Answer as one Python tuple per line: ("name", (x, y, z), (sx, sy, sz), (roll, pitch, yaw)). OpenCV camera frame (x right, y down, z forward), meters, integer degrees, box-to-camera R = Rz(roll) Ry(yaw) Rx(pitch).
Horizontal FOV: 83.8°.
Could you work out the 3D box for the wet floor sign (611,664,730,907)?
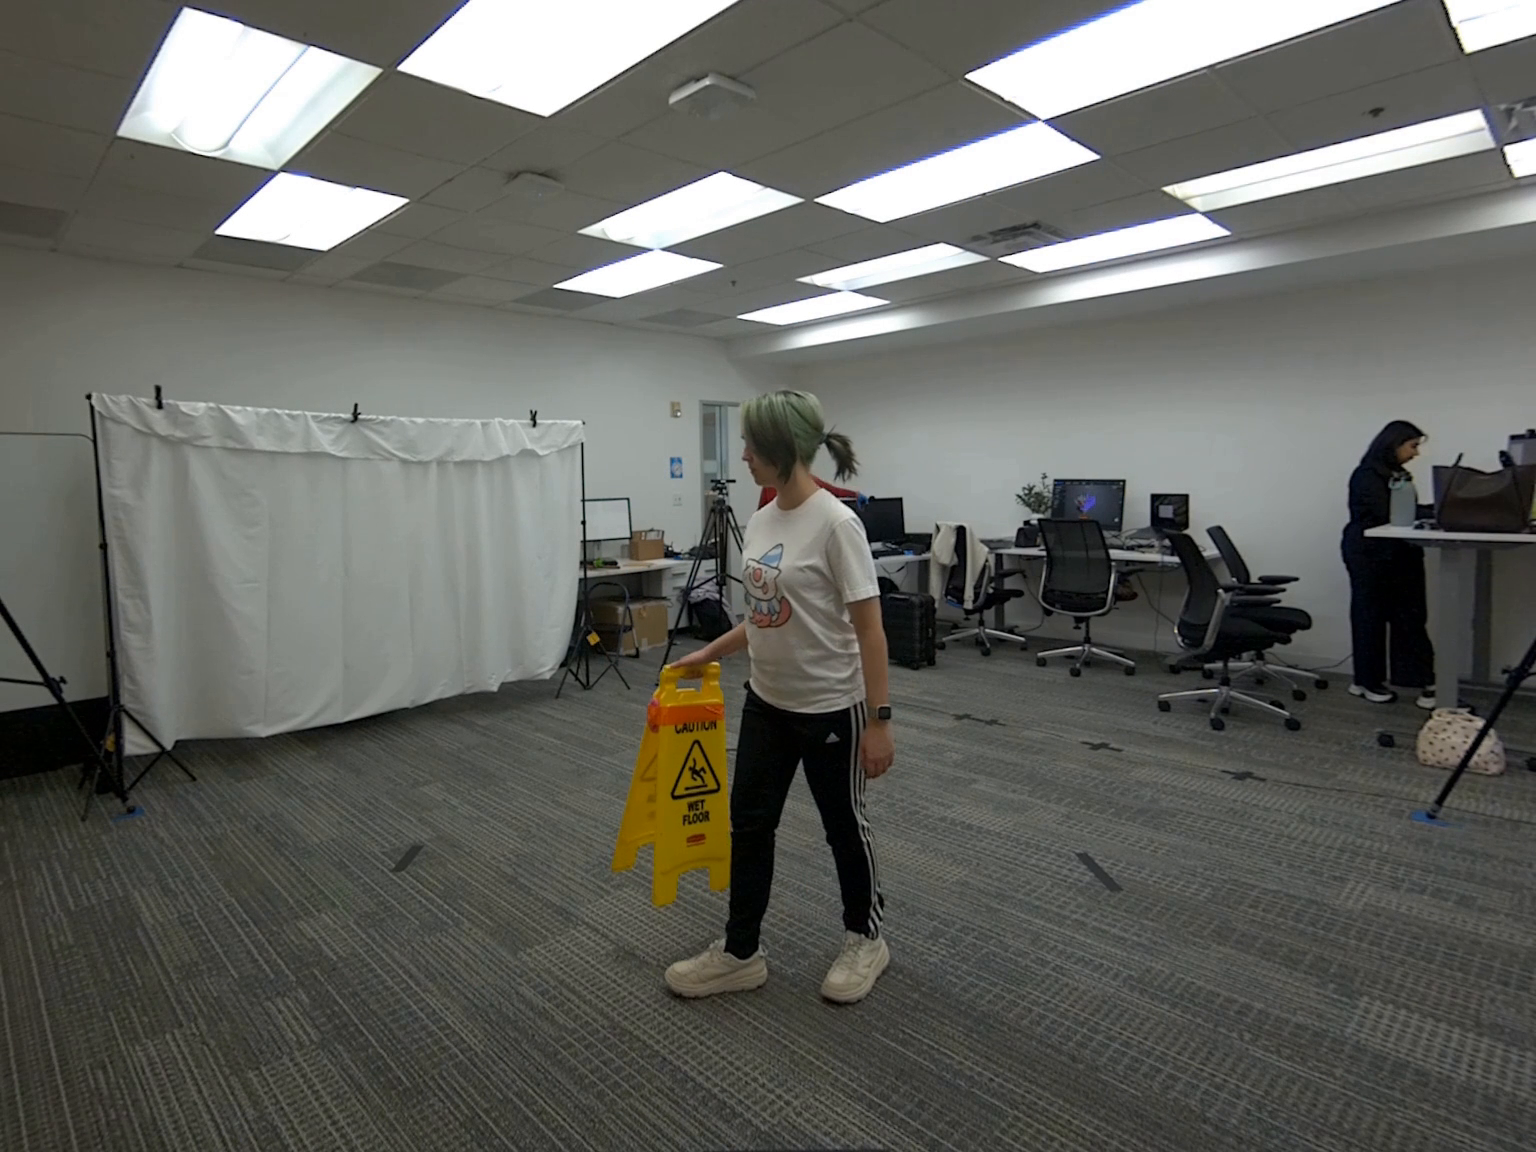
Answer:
("wet floor sign", (-0.257, 0.575, 2.517), (0.274, 0.645, 0.299), (4, 2, -39))
